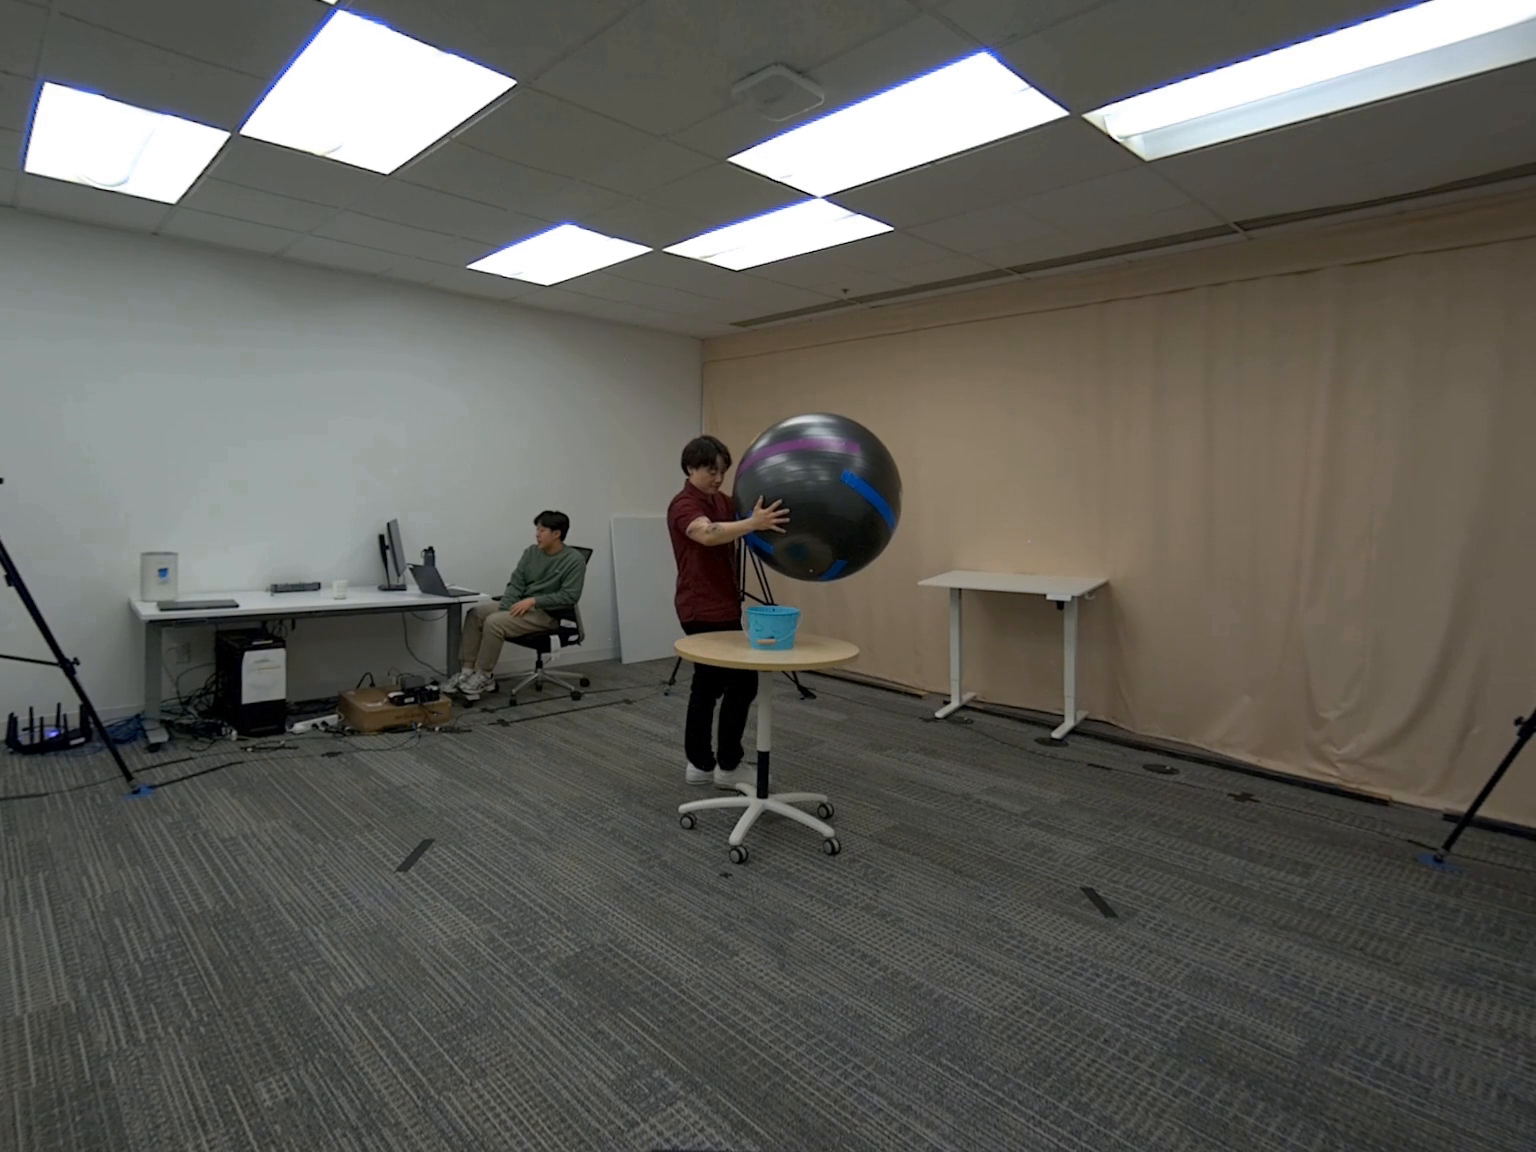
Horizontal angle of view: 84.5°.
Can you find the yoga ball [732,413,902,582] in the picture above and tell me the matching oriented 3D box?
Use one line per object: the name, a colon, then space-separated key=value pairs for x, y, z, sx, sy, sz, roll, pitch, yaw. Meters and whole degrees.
yoga ball: x=0.214 y=-0.355 z=3.797 sx=0.757 sy=0.756 sz=0.761 roll=1 pitch=4 yaw=-1
